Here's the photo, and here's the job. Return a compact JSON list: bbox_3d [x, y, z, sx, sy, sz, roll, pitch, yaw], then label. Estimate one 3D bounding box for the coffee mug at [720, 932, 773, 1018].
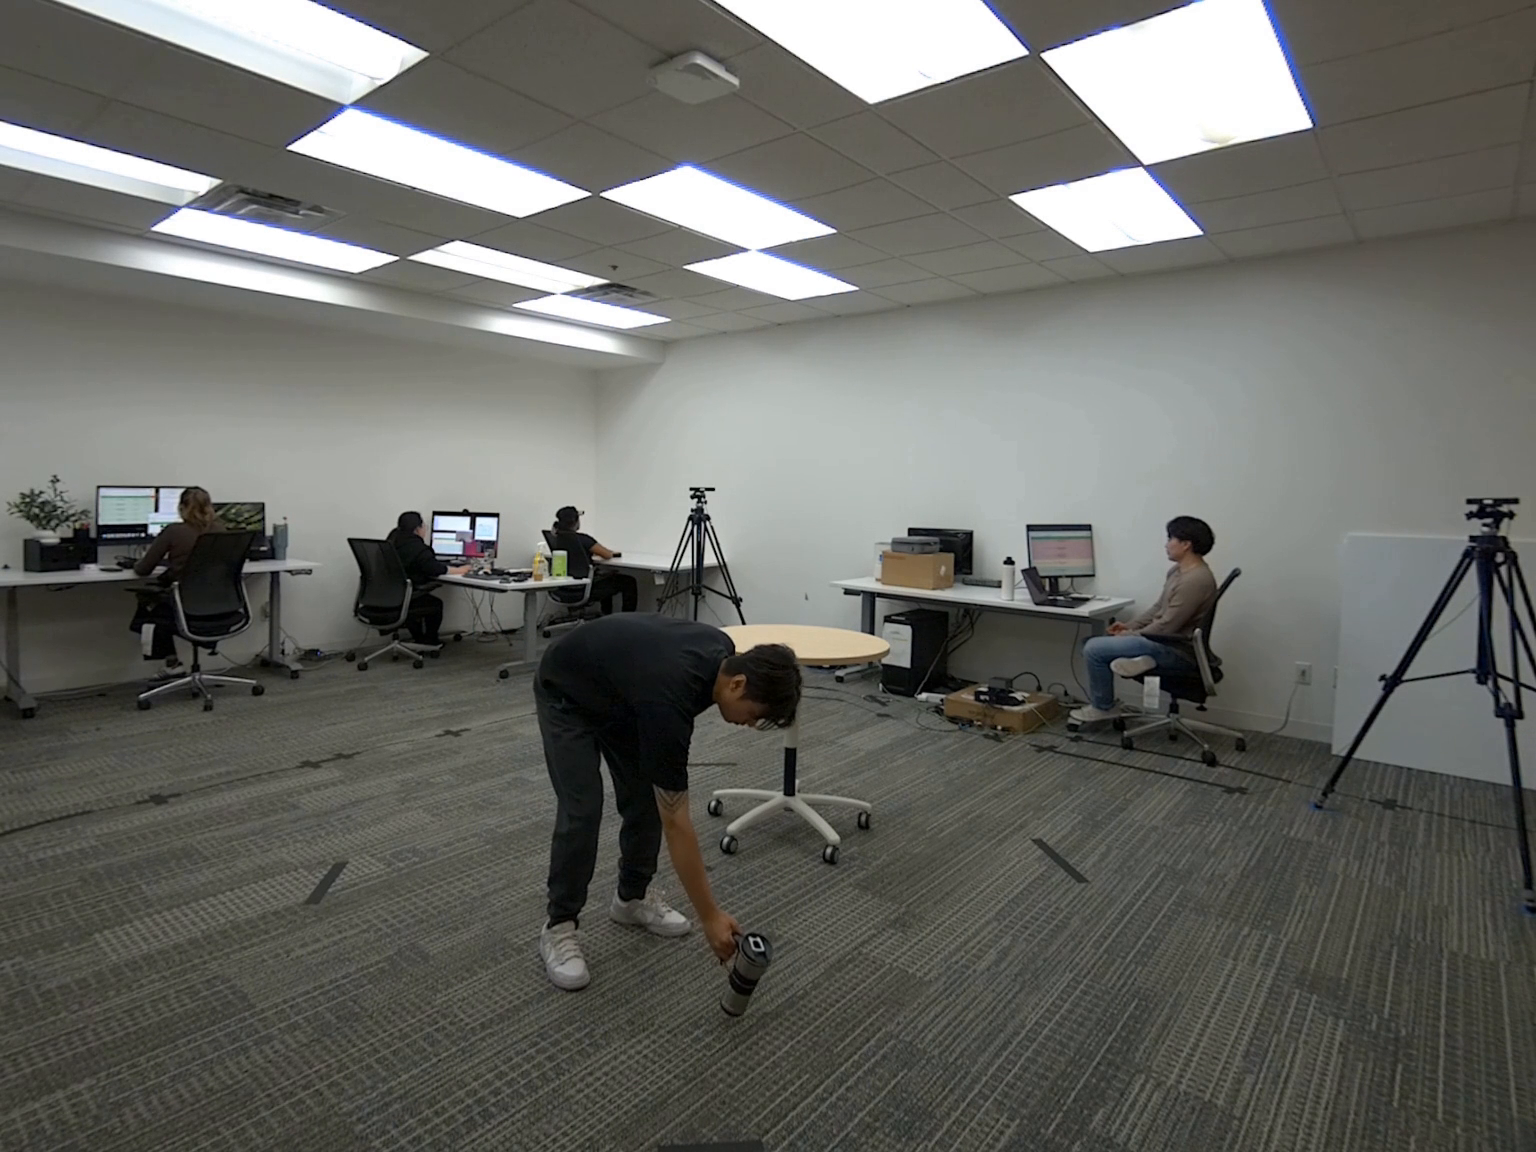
[{"bbox_3d":[-0.084,1.022,2.208,0.124,0.201,0.087,26,18,11],"label":"coffee mug"}]
